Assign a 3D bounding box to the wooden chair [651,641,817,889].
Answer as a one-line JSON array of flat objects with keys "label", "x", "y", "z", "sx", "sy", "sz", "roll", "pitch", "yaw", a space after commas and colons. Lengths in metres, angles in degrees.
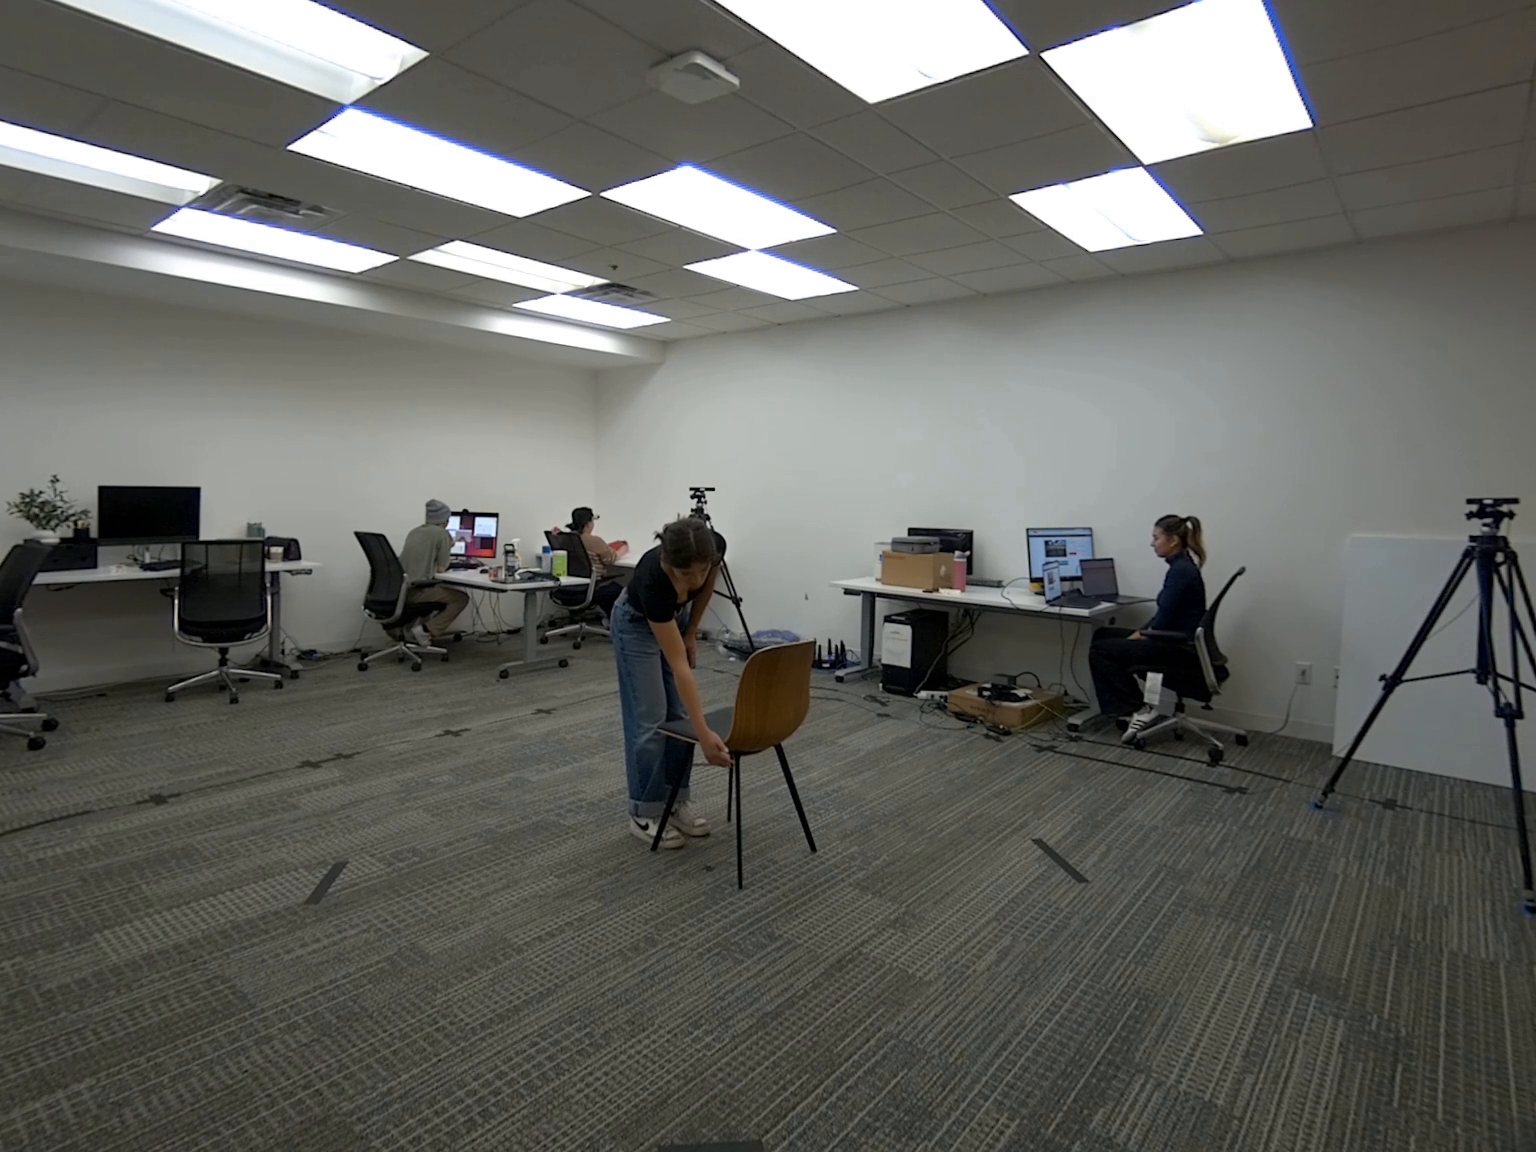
[{"label": "wooden chair", "x": -0.131, "y": 0.629, "z": 3.239, "sx": 0.542, "sy": 0.873, "sz": 0.464, "roll": 9, "pitch": 8, "yaw": 40}]
